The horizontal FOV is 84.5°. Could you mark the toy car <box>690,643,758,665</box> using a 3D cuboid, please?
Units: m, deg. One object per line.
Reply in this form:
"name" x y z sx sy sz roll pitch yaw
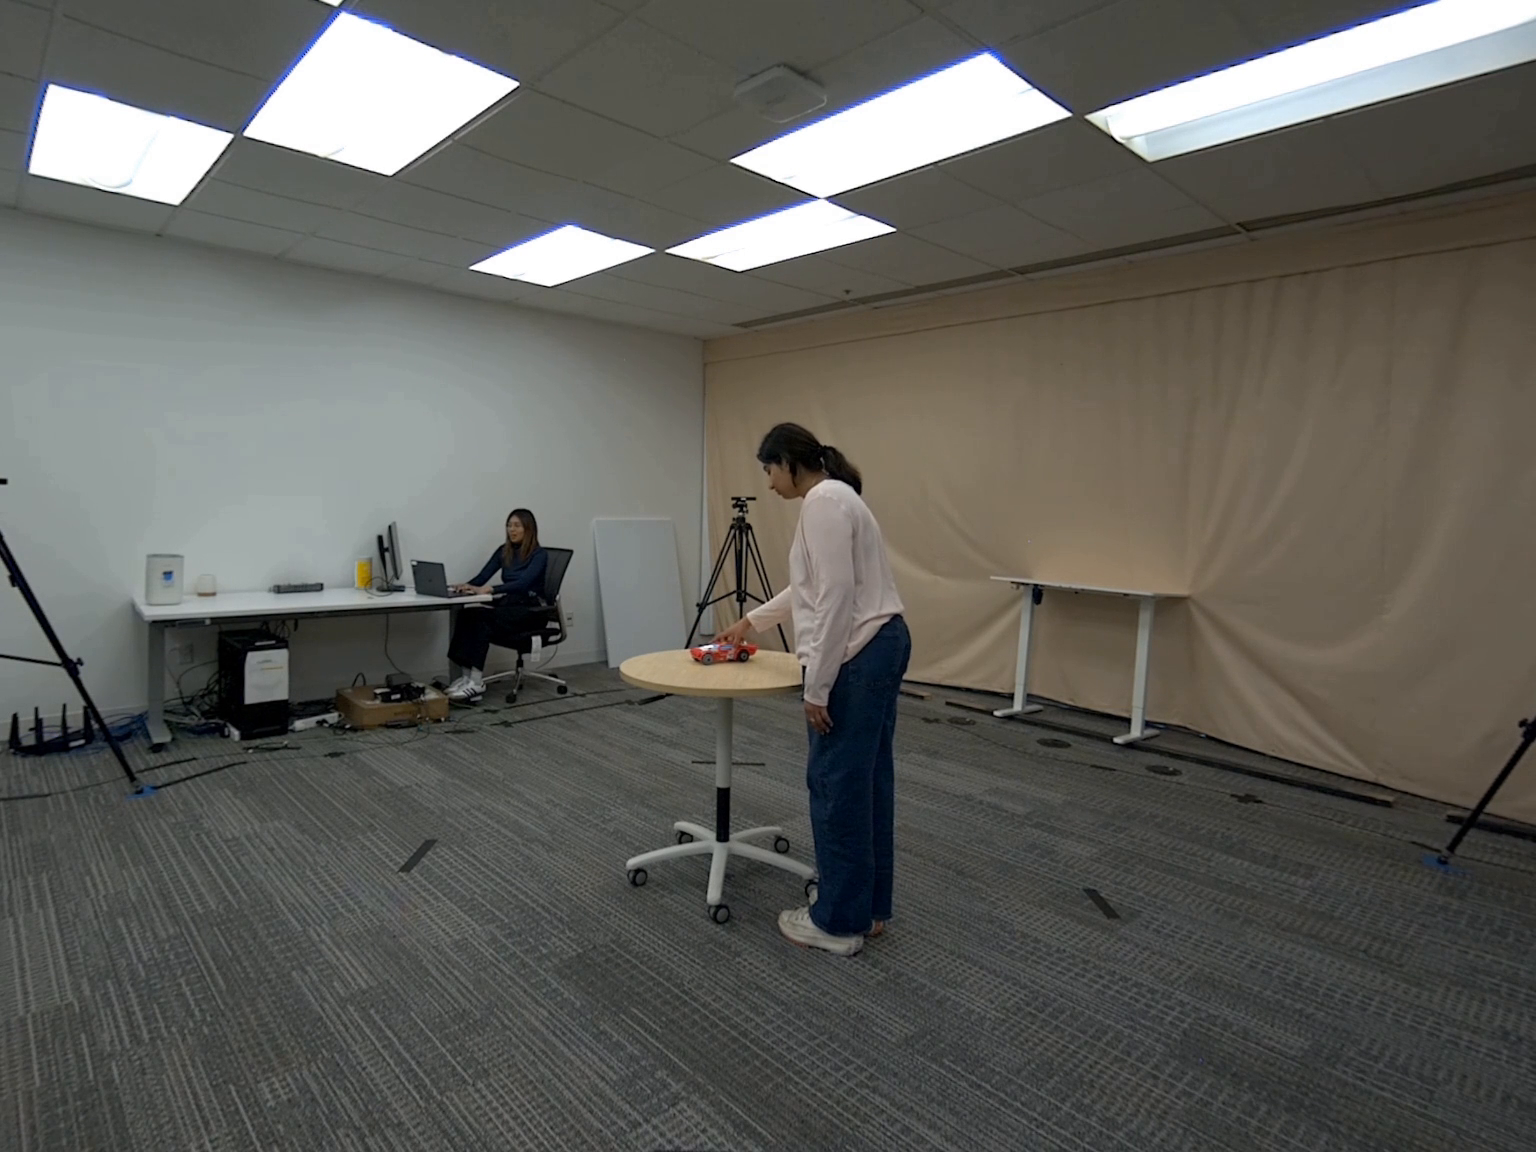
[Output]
"toy car" -0.165 0.289 3.152 0.251 0.082 0.133 -13 10 -23
